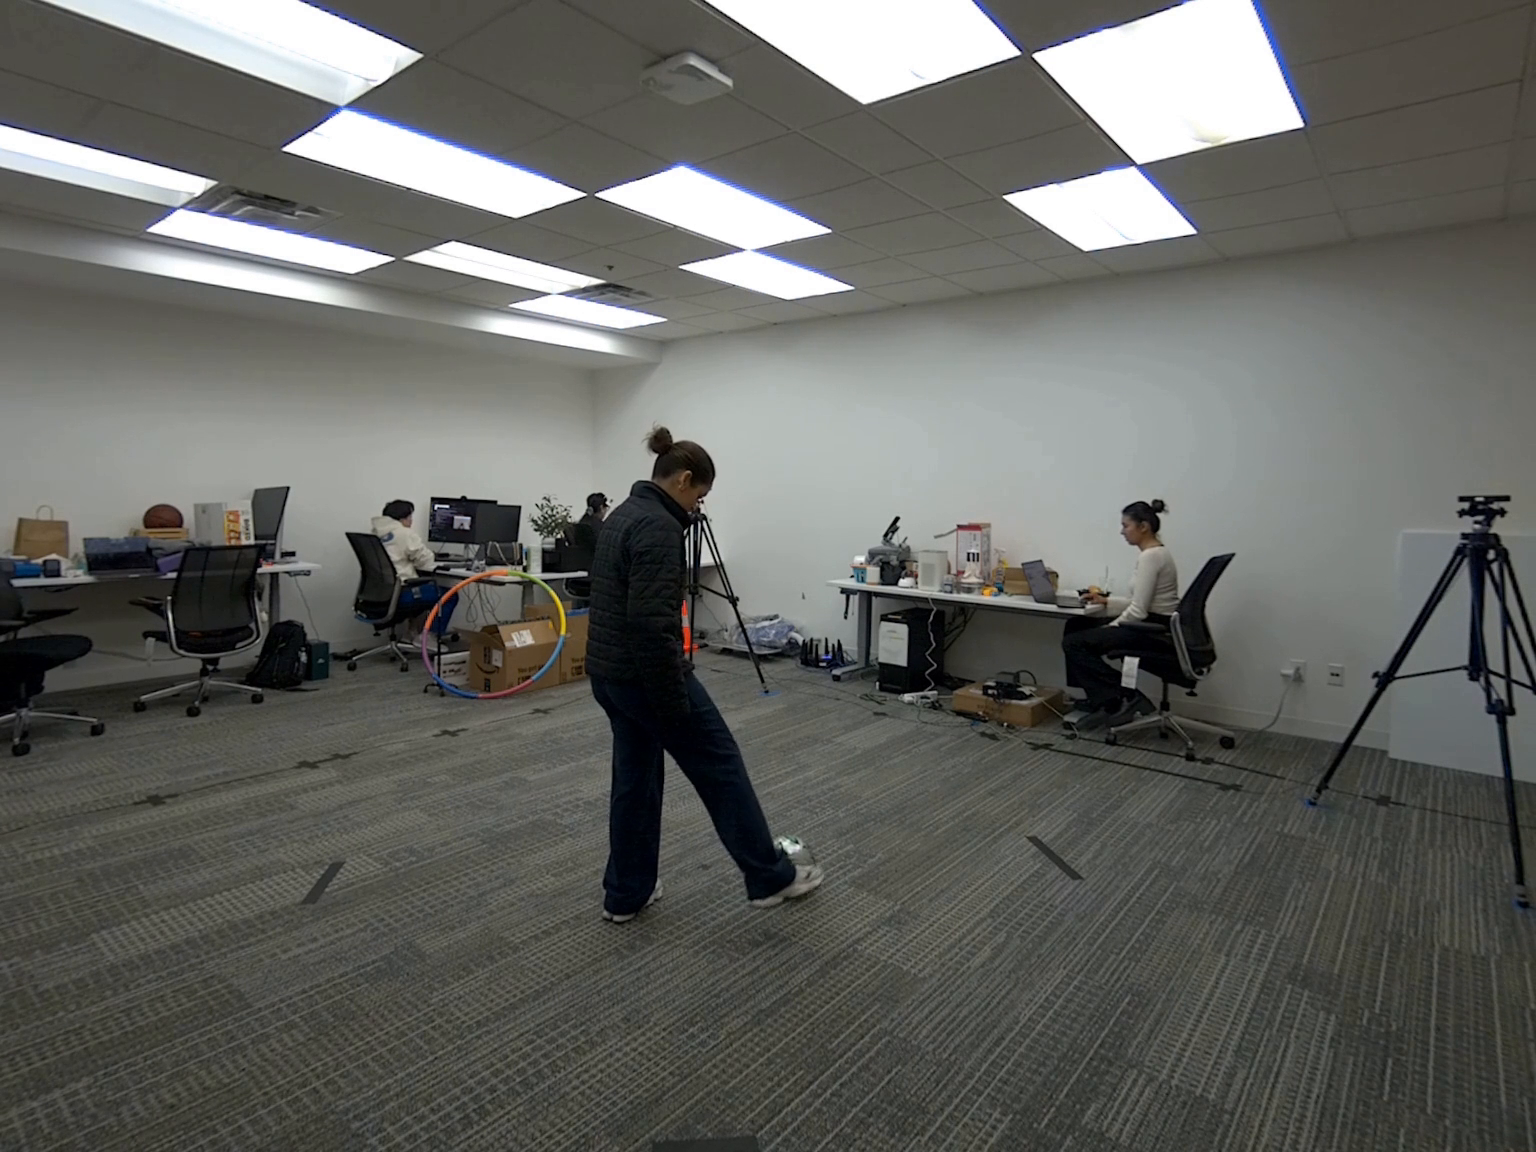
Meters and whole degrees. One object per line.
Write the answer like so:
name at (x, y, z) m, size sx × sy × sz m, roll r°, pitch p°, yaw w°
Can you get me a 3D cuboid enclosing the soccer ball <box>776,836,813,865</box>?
soccer ball at (0.066, 0.988, 2.941) m, size 0.187 × 0.187 × 0.188 m, roll 1°, pitch 4°, yaw -2°
